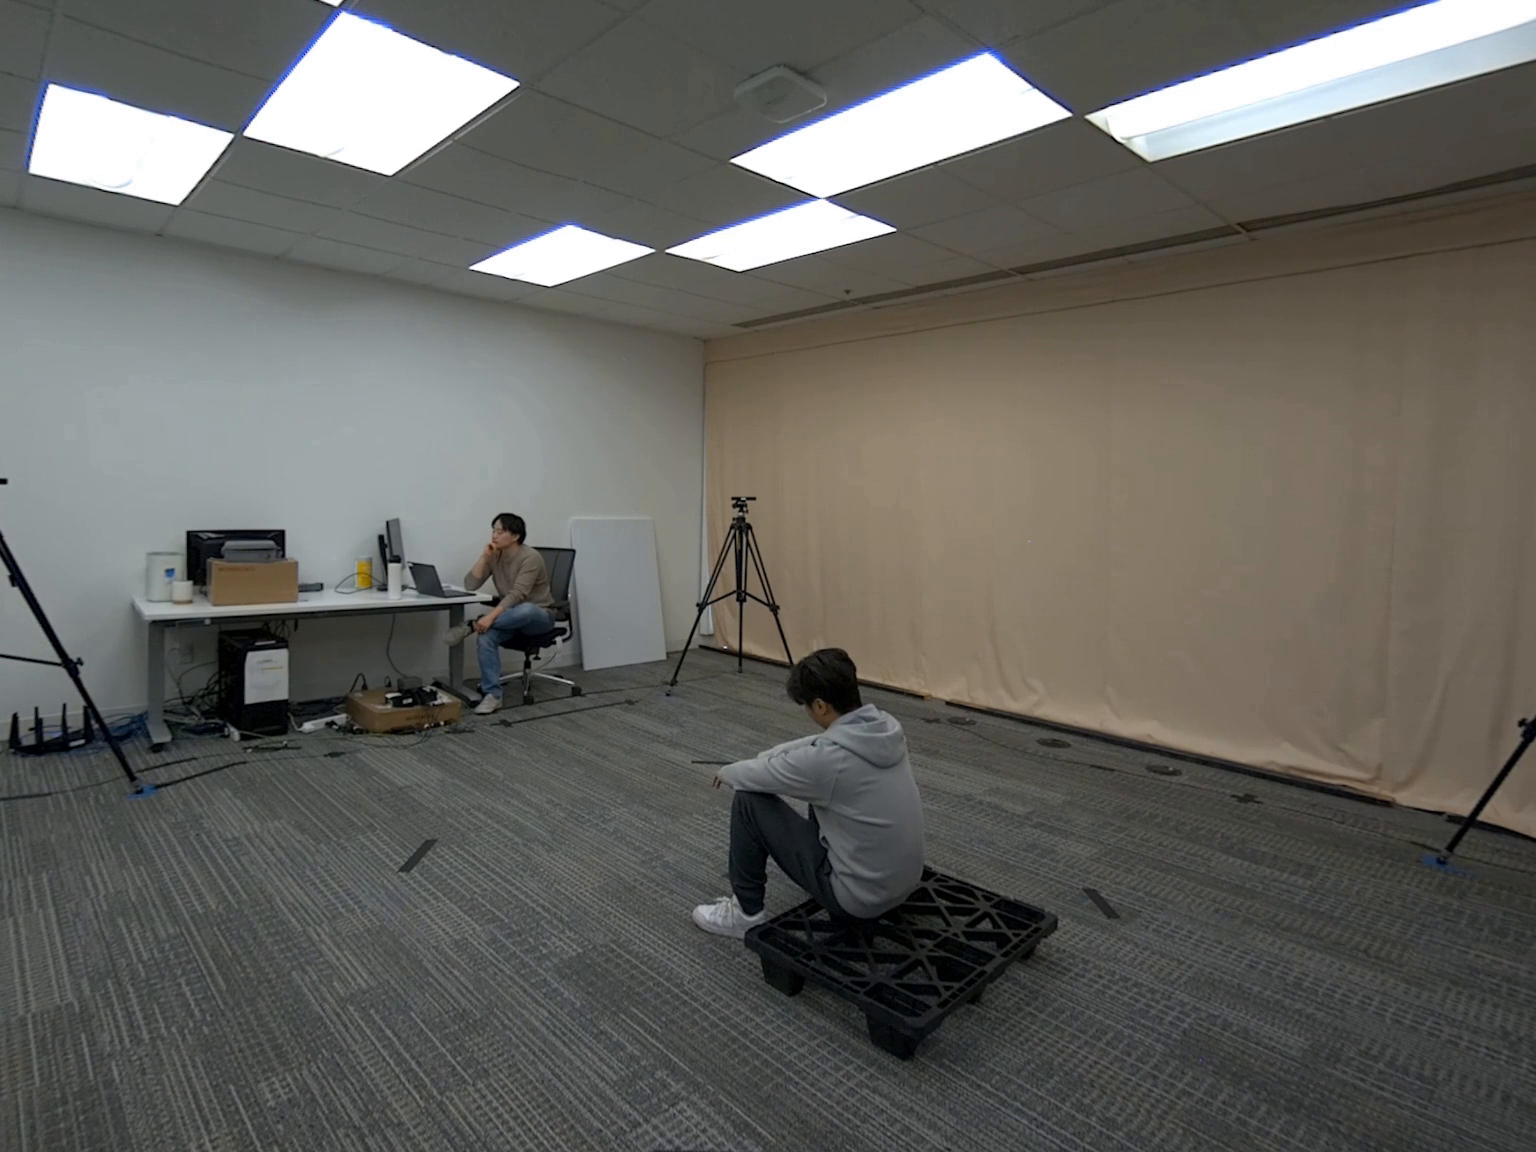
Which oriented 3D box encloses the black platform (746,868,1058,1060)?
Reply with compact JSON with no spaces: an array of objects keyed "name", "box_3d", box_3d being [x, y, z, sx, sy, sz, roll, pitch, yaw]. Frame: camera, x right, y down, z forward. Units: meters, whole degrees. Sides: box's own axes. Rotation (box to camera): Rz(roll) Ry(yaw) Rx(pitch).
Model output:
[{"name":"black platform","box_3d":[0.398,1.107,2.519,0.621,0.143,0.787,6,7,43]}]
